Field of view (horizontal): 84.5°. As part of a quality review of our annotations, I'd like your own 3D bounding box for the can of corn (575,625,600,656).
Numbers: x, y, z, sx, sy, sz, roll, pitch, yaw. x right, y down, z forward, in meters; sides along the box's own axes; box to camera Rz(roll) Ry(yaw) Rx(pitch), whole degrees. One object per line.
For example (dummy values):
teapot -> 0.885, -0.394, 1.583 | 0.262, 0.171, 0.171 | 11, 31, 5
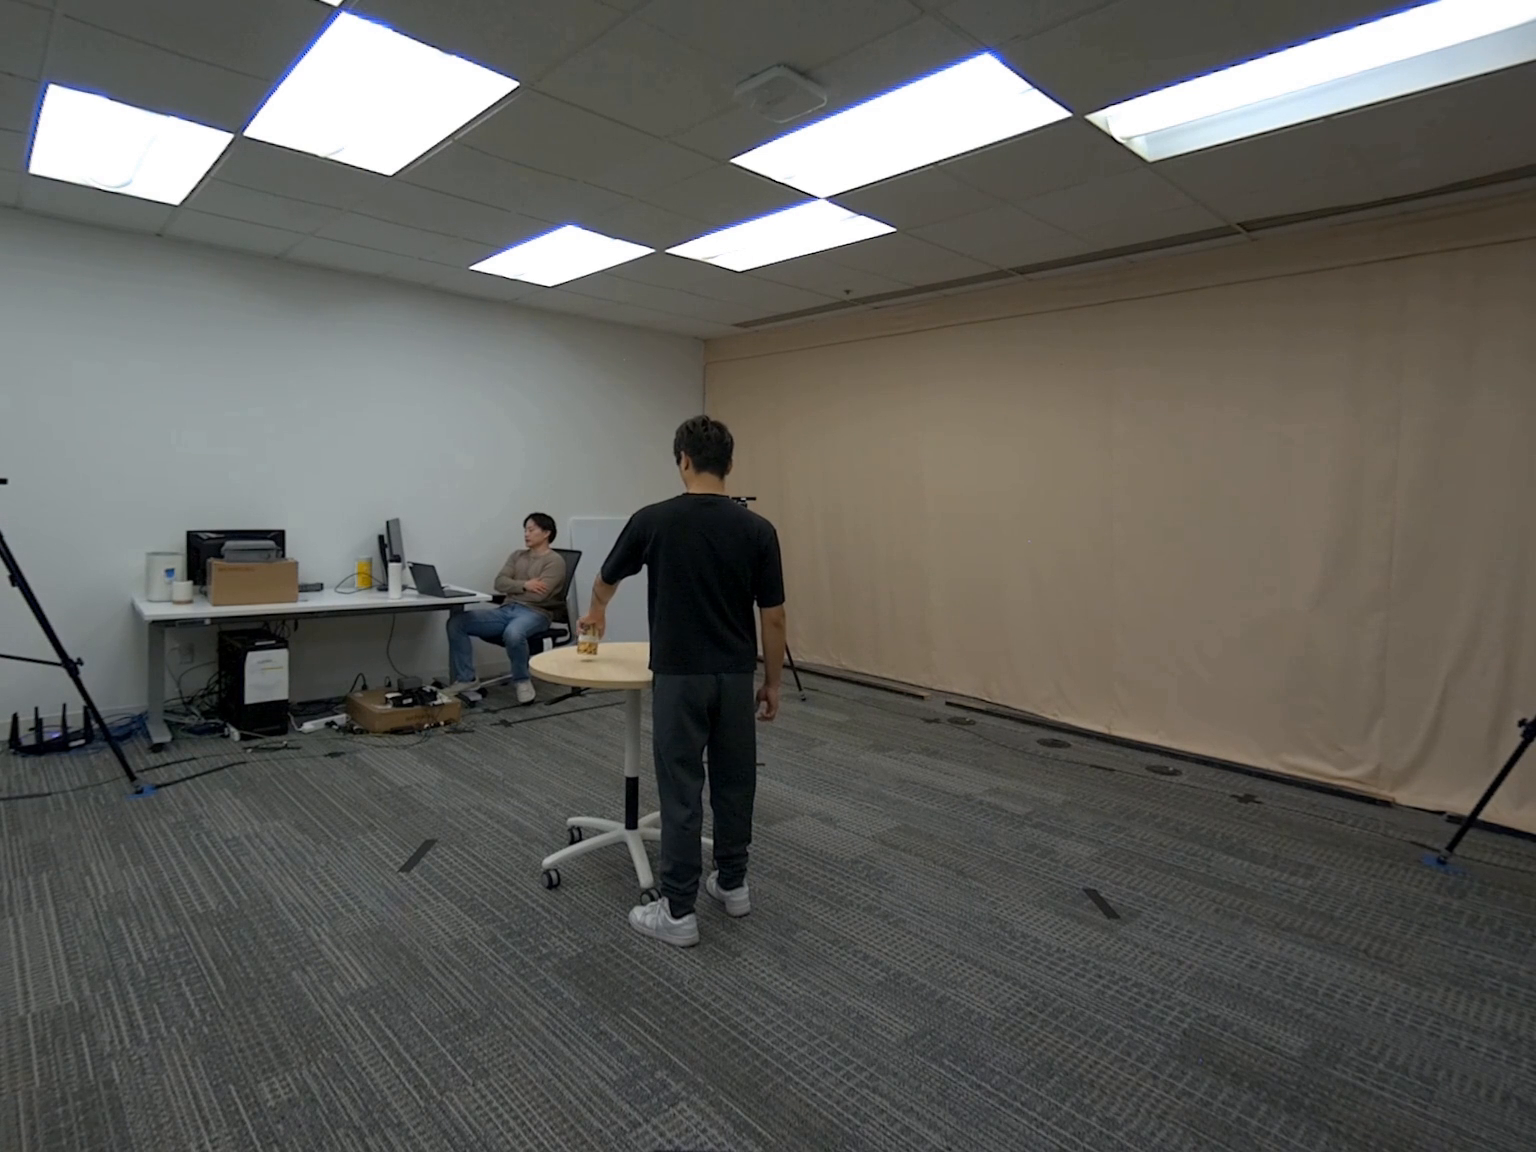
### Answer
can of corn -> -0.663, 0.237, 3.106 | 0.074, 0.111, 0.074 | 6, -2, -1
